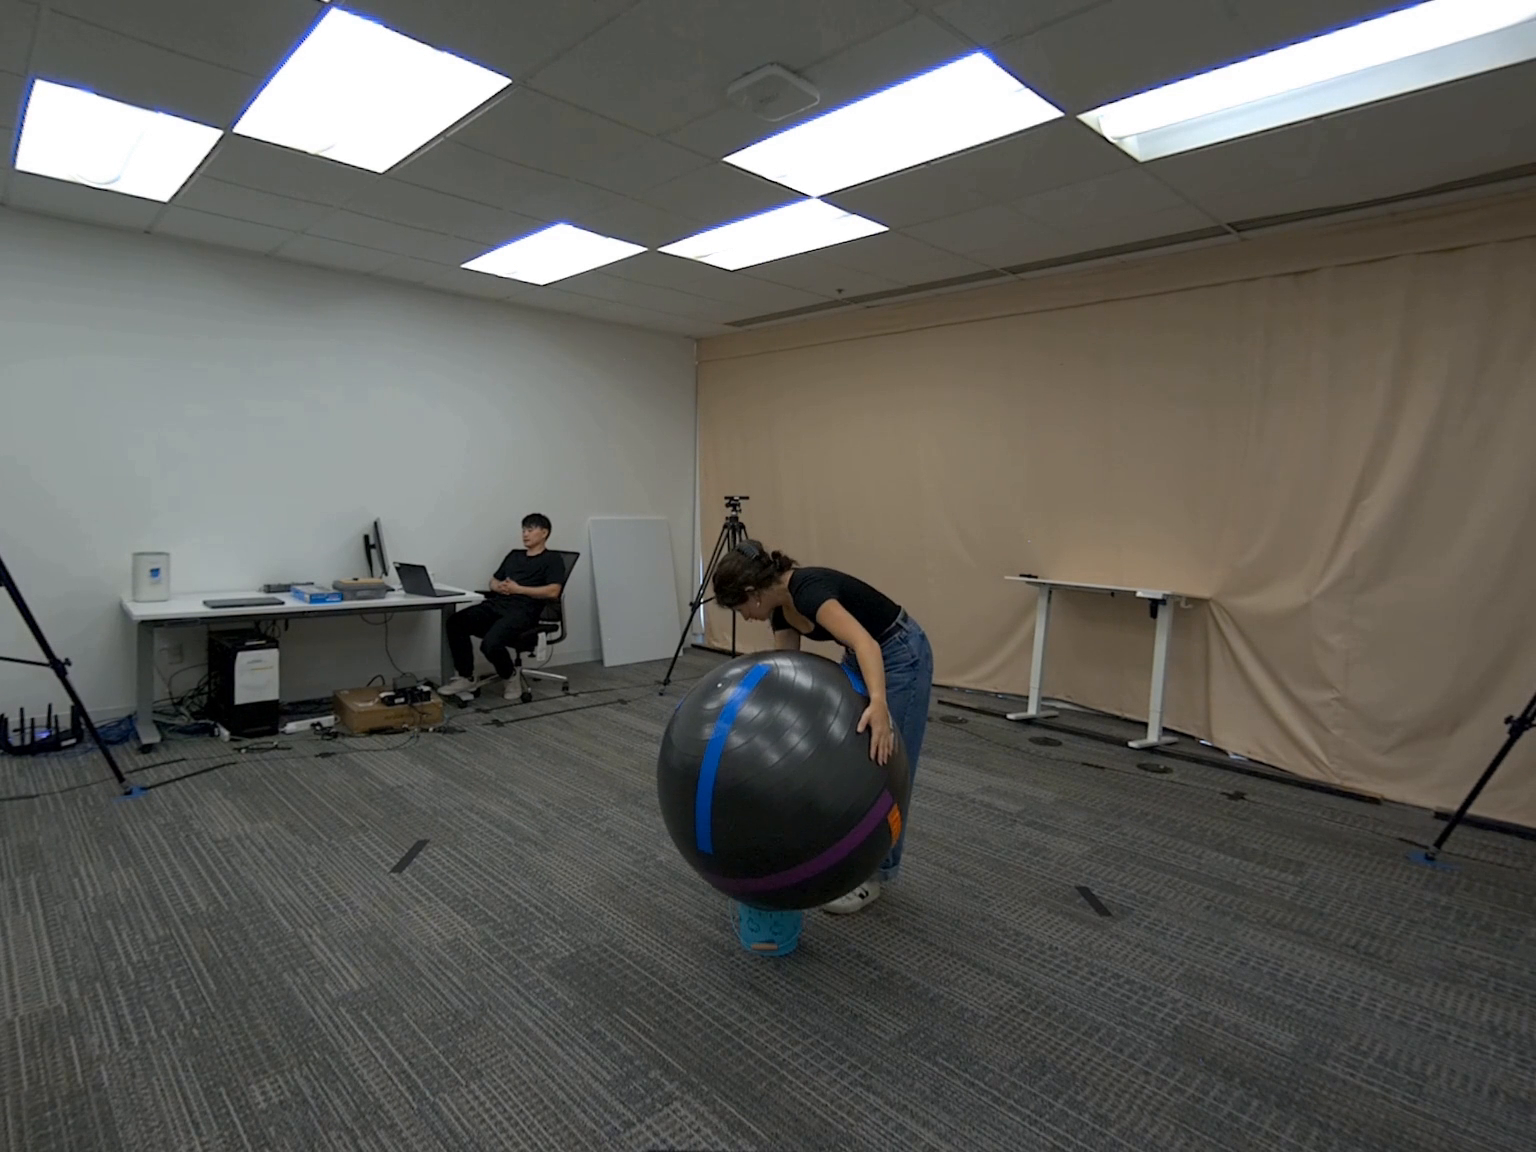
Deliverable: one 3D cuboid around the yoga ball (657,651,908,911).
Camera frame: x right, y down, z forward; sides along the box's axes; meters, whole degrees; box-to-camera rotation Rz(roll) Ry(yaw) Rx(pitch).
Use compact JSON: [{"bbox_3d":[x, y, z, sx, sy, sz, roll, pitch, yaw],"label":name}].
[{"bbox_3d":[0.039,0.603,2.546,0.757,0.756,0.761,1,4,-1],"label":"yoga ball"}]
